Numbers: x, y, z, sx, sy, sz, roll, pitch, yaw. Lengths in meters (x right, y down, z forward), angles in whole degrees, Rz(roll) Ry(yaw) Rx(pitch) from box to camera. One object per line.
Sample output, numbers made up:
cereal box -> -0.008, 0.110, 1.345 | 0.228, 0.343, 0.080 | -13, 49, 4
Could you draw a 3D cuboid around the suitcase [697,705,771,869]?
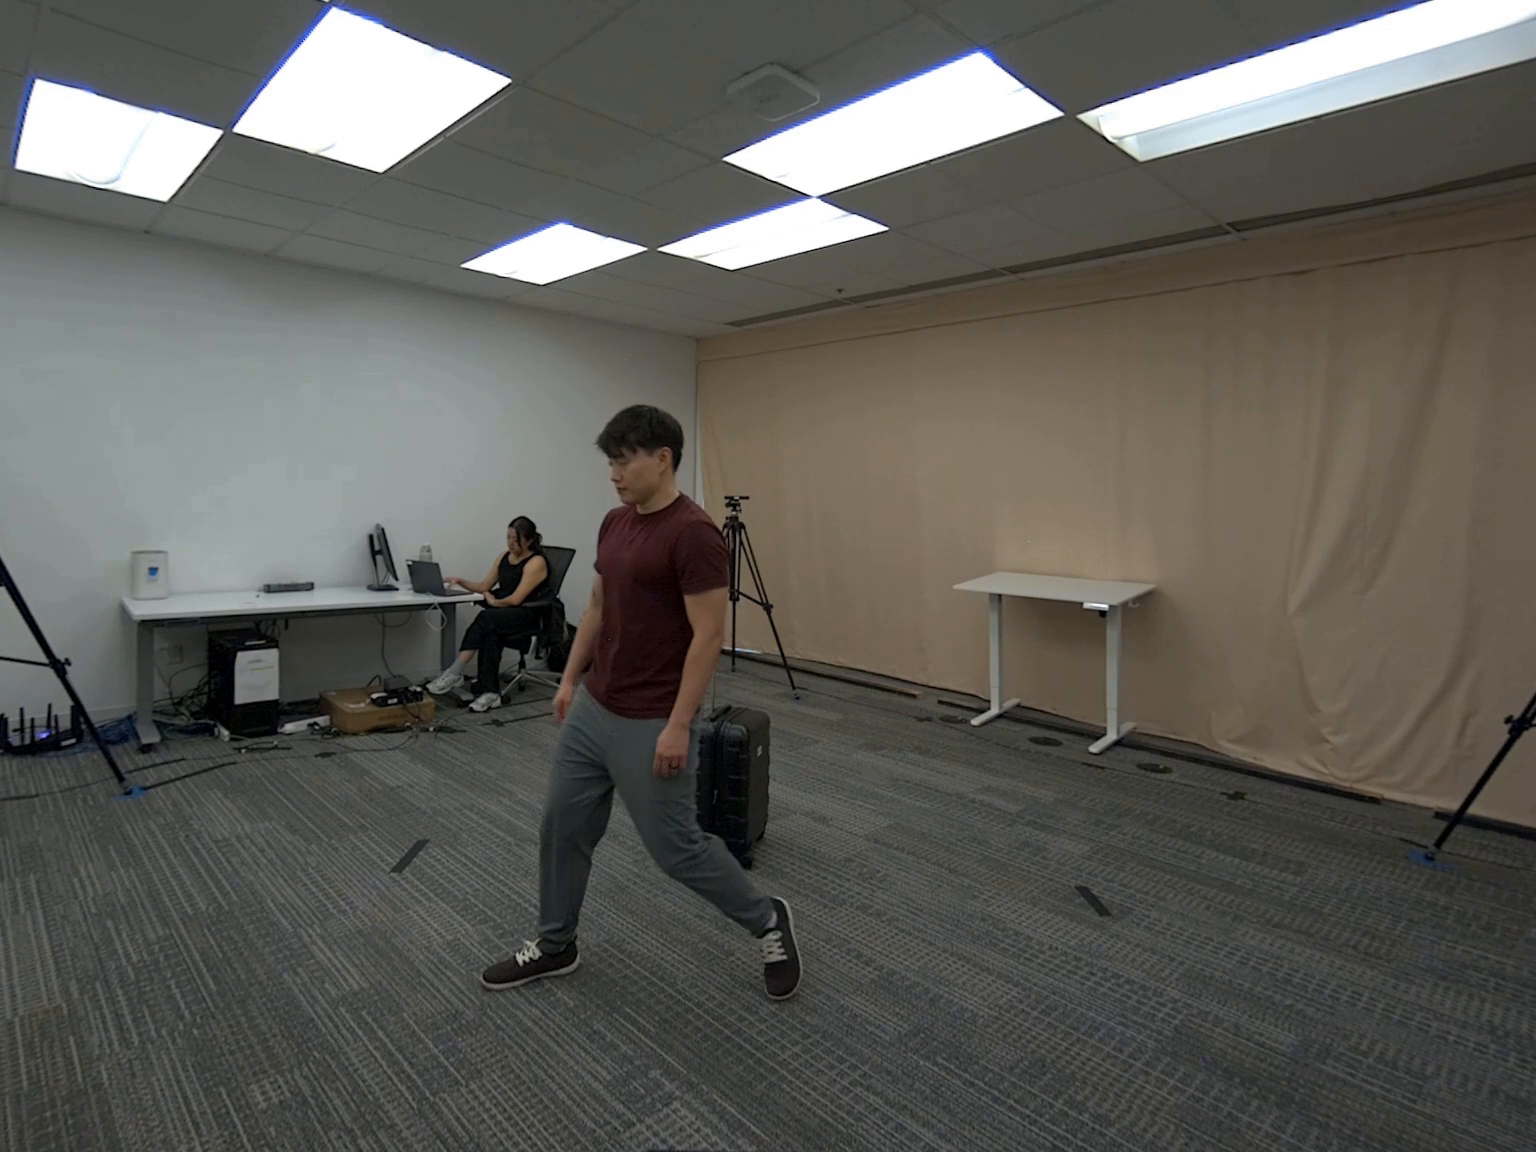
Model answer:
suitcase -> -0.147, 0.604, 3.329 | 0.261, 0.977, 0.379 | 4, 3, 16
